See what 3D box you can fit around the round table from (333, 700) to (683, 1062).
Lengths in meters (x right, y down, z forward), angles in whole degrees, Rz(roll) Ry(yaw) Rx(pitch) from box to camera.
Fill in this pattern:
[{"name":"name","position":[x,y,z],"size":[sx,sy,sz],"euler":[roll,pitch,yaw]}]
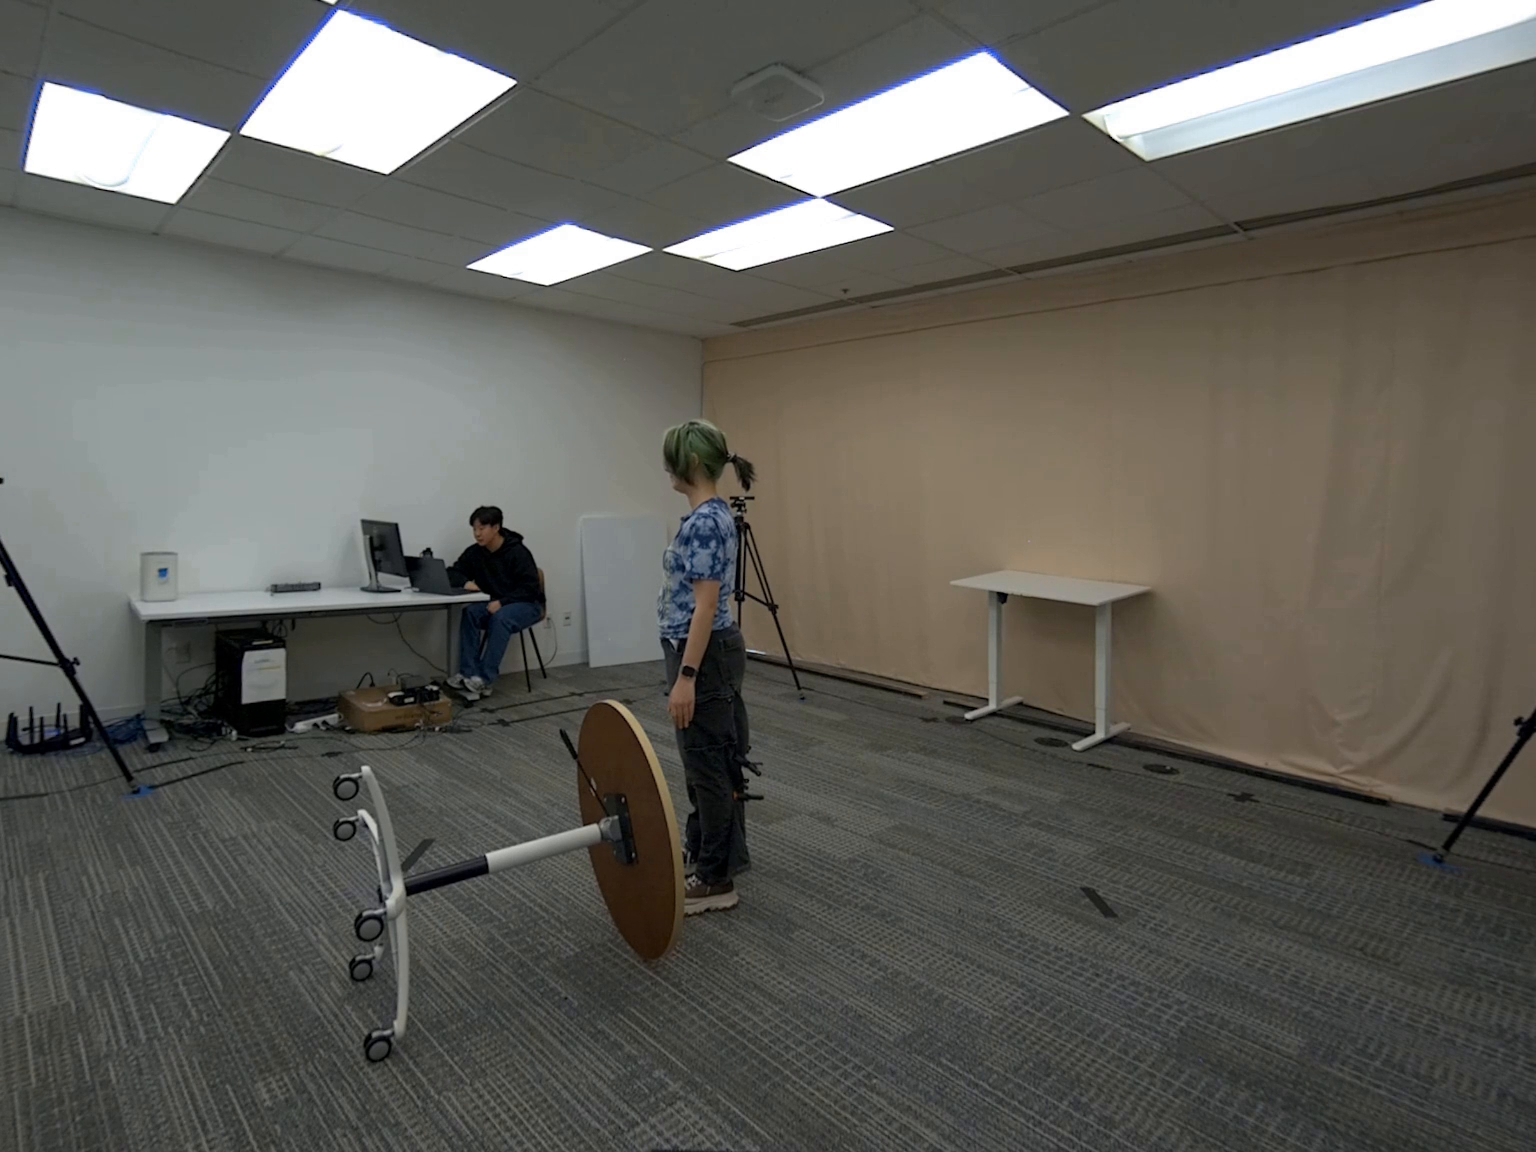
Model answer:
[{"name":"round table","position":[-0.776,0.818,2.384],"size":[0.780,0.760,0.782],"euler":[-8,8,-30]}]
